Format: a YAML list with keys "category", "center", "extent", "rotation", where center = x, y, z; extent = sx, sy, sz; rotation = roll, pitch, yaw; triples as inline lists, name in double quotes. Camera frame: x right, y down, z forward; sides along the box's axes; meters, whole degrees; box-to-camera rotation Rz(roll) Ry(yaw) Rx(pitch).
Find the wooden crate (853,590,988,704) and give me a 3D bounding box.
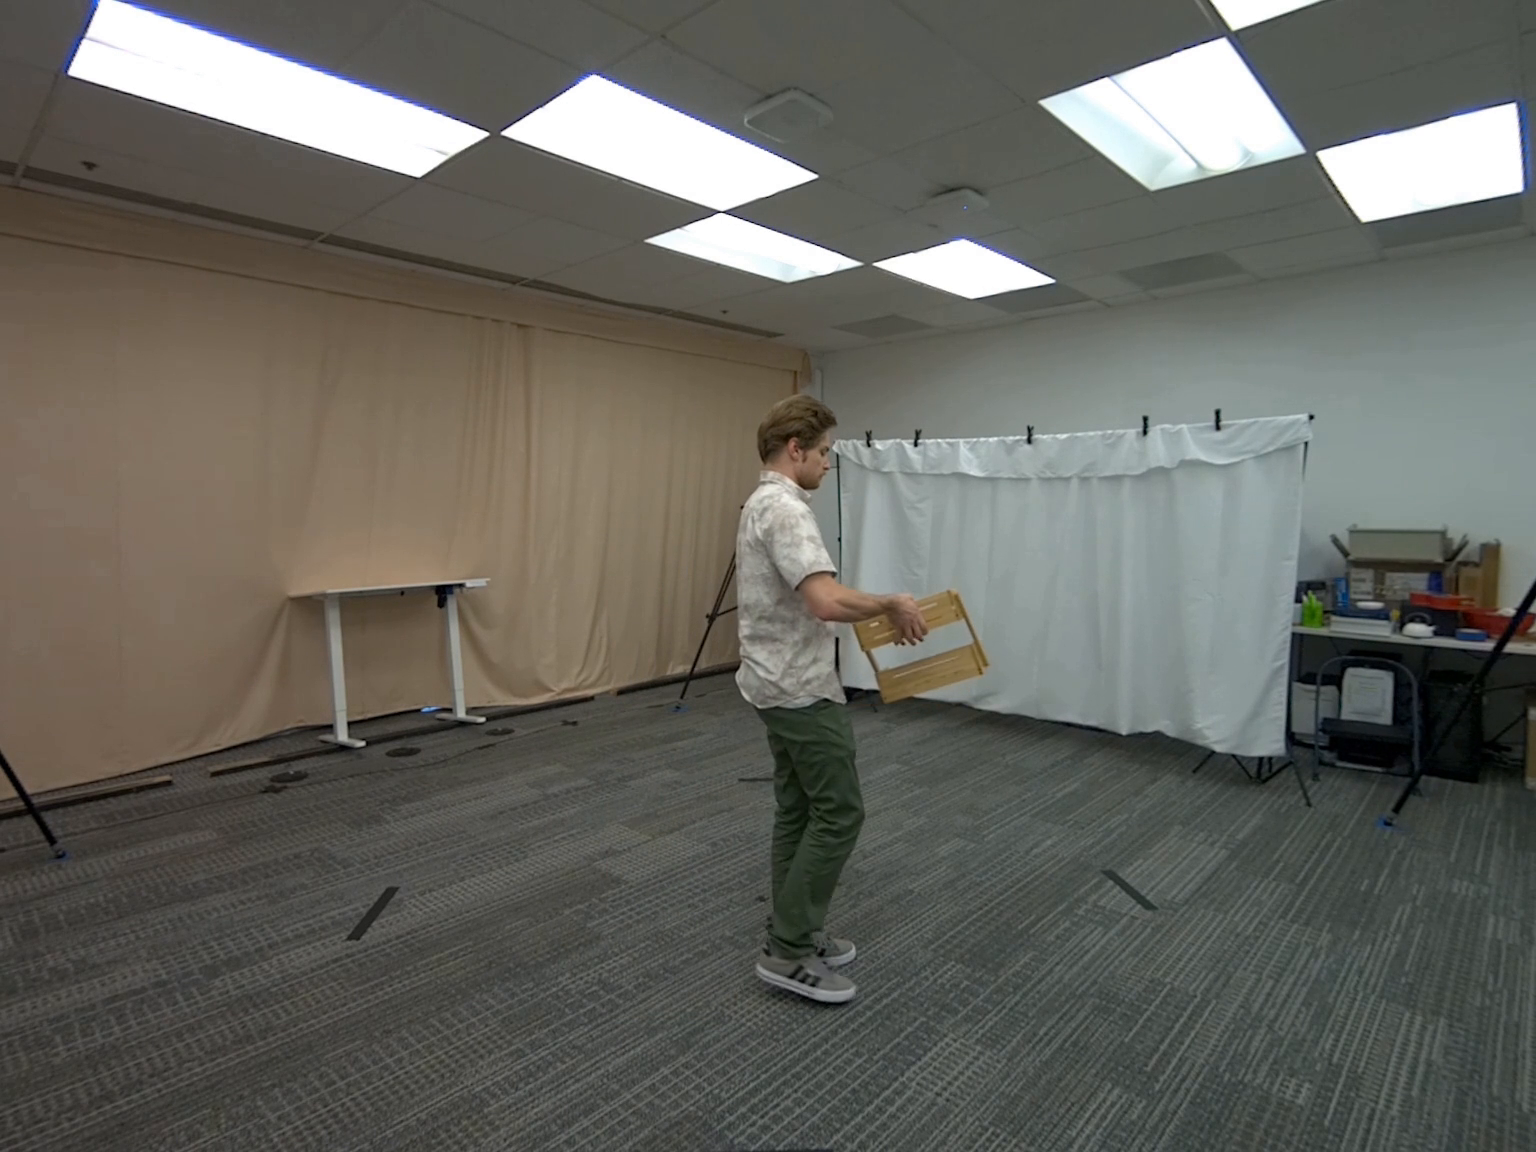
- category: "wooden crate"
  center: [0.478, 0.208, 2.563]
  extent: [0.329, 0.275, 0.295]
  rotation: [-21, -8, 18]
